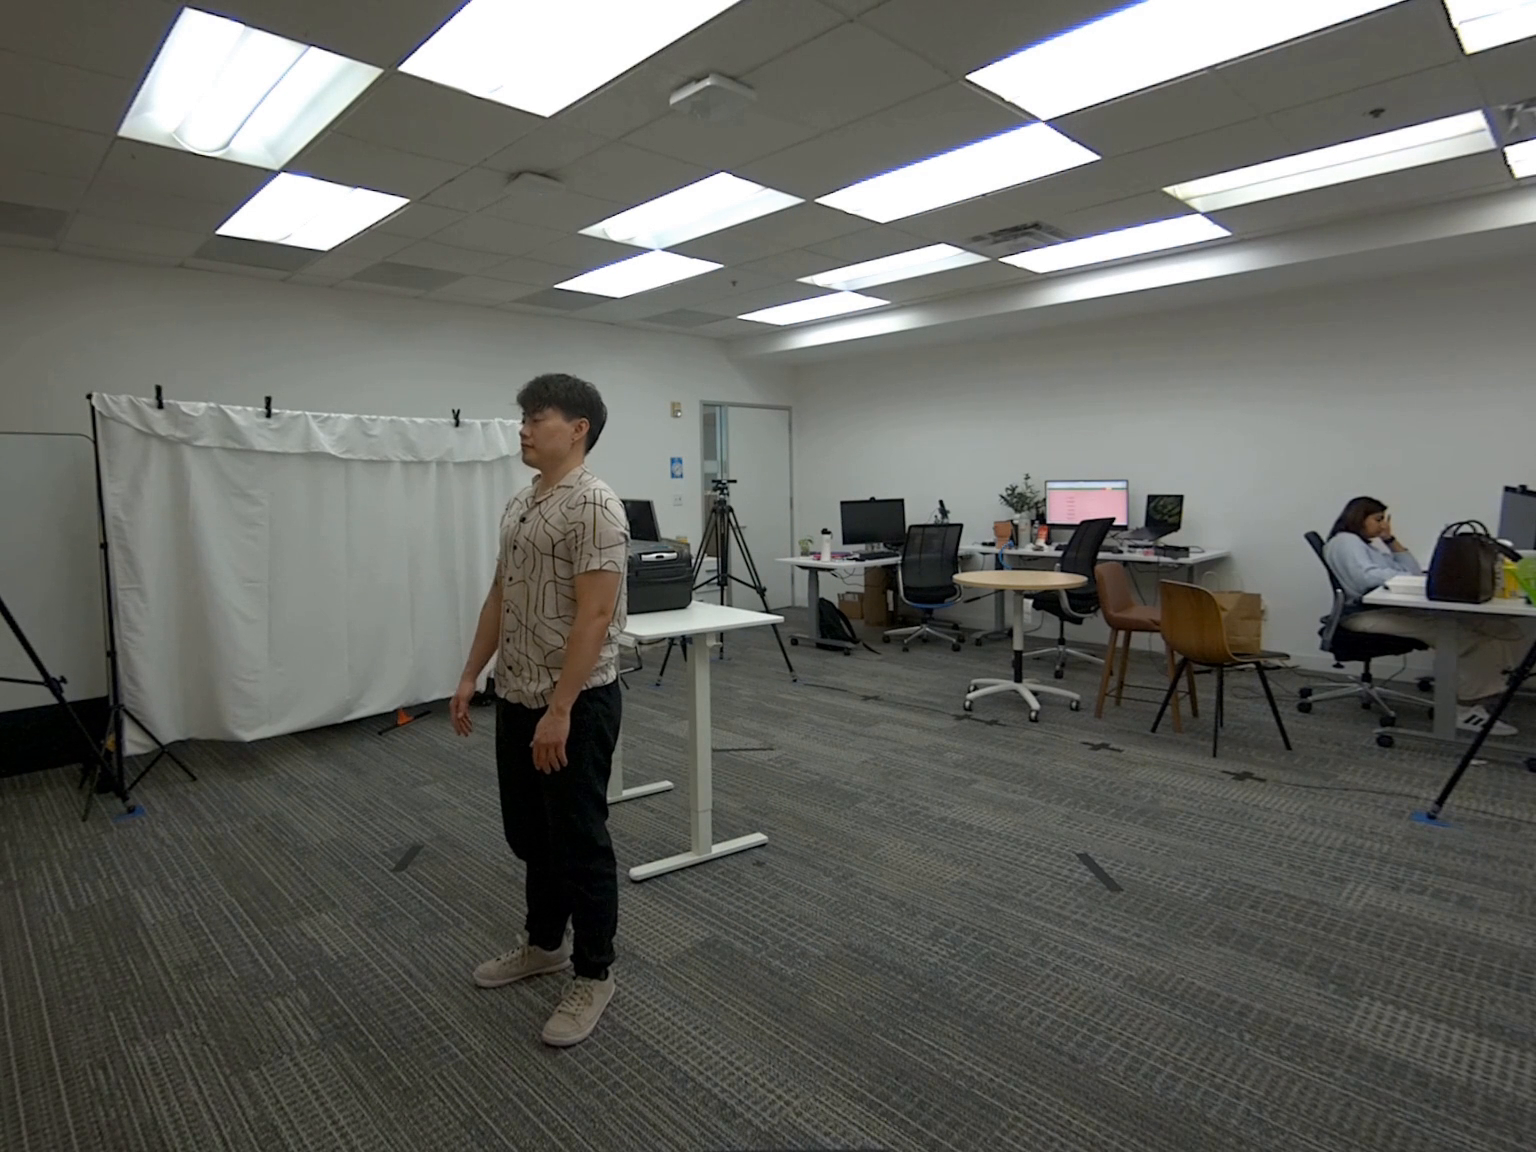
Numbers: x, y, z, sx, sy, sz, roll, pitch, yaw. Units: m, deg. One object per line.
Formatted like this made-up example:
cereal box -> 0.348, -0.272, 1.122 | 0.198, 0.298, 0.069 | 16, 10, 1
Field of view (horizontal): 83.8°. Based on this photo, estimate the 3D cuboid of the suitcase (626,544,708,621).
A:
suitcase -> -0.565, 0.010, 3.569 | 0.366, 0.247, 0.566 | -4, 6, -37
